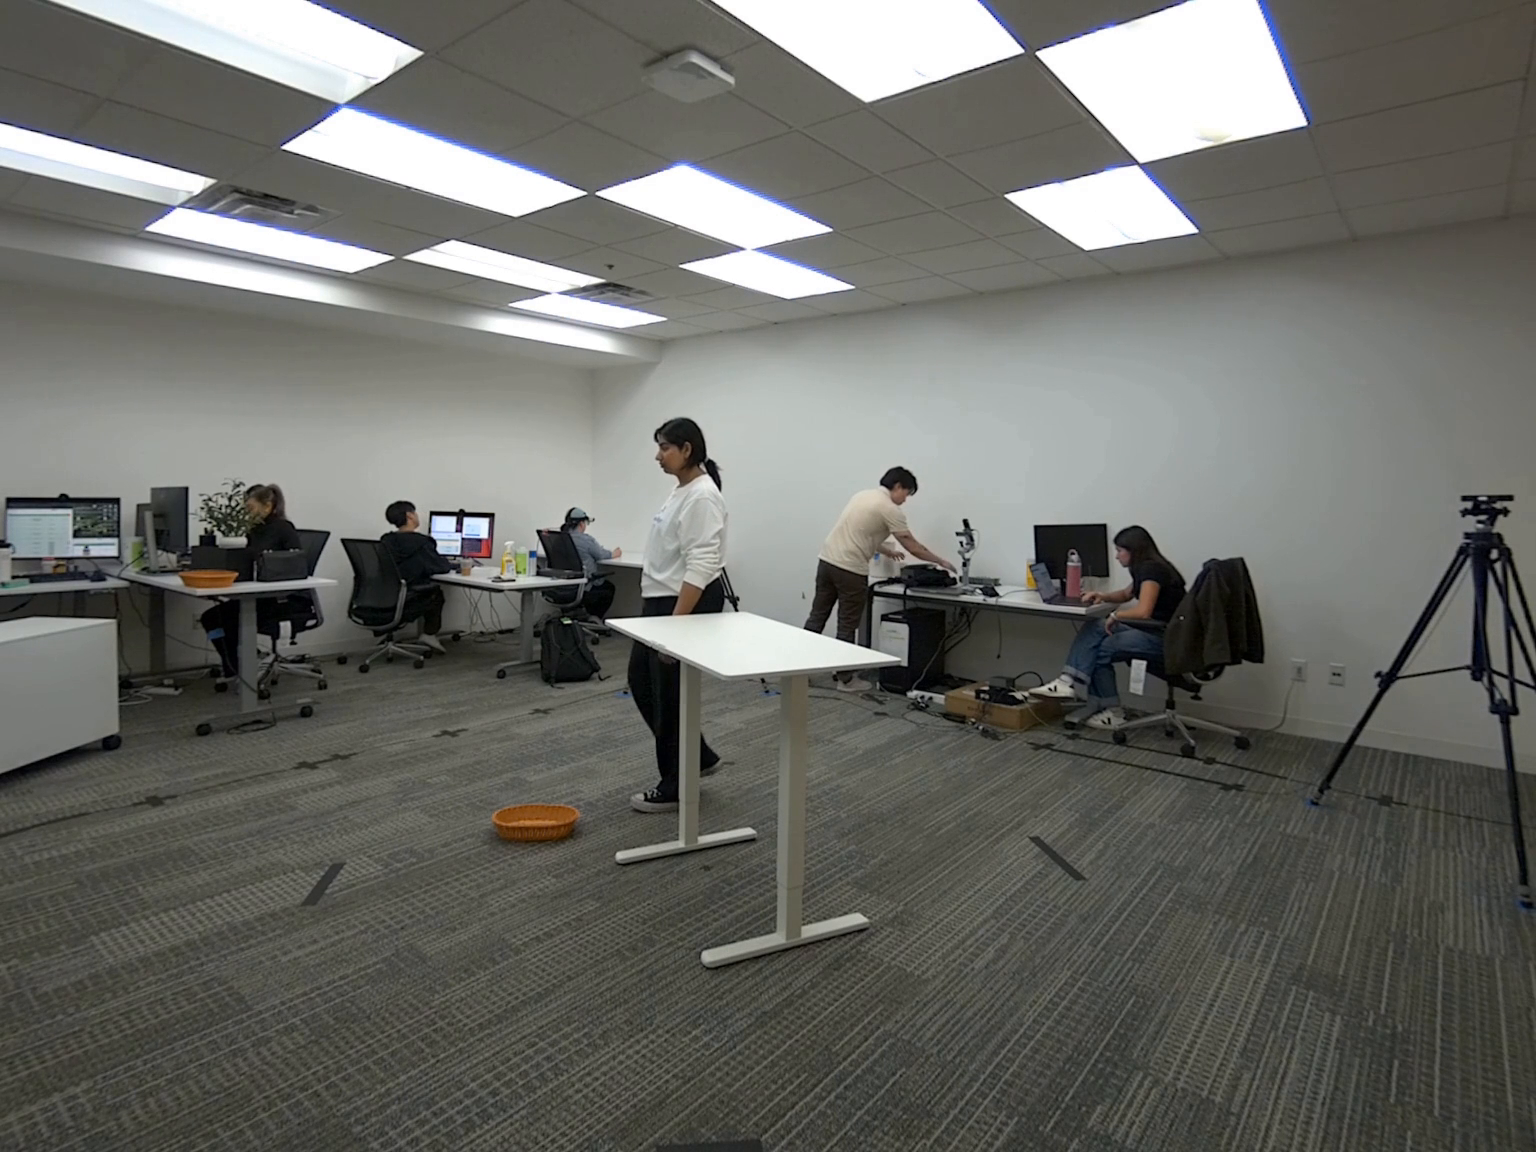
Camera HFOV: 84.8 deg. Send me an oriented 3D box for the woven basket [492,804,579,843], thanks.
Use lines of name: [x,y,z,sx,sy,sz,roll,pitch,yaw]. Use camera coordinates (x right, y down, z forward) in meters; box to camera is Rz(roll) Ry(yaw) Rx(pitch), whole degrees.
woven basket: [-0.937,0.986,3.411,0.350,0.073,0.253,1,4,-1]
